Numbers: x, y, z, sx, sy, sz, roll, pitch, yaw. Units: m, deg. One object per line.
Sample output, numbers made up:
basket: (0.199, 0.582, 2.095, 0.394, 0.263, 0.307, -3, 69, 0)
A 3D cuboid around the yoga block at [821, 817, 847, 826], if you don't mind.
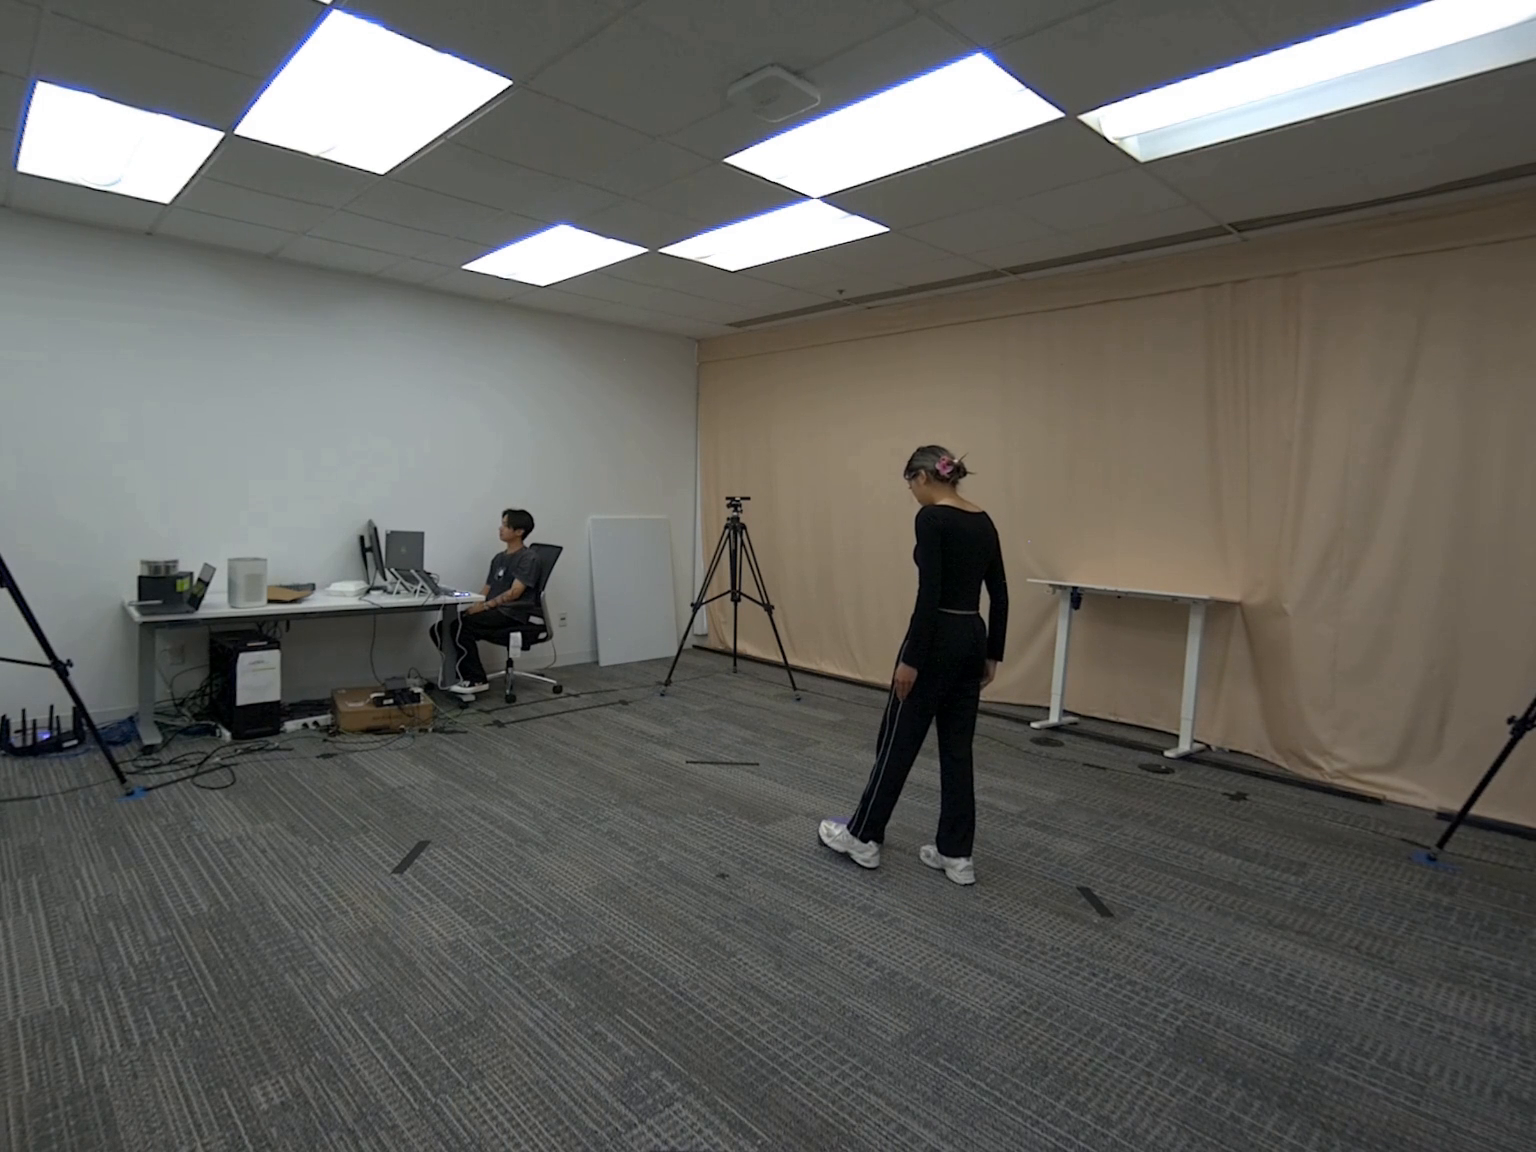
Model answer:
yoga block: (0.332, 1.050, 3.409, 0.233, 0.076, 0.147, 3, 3, 21)
